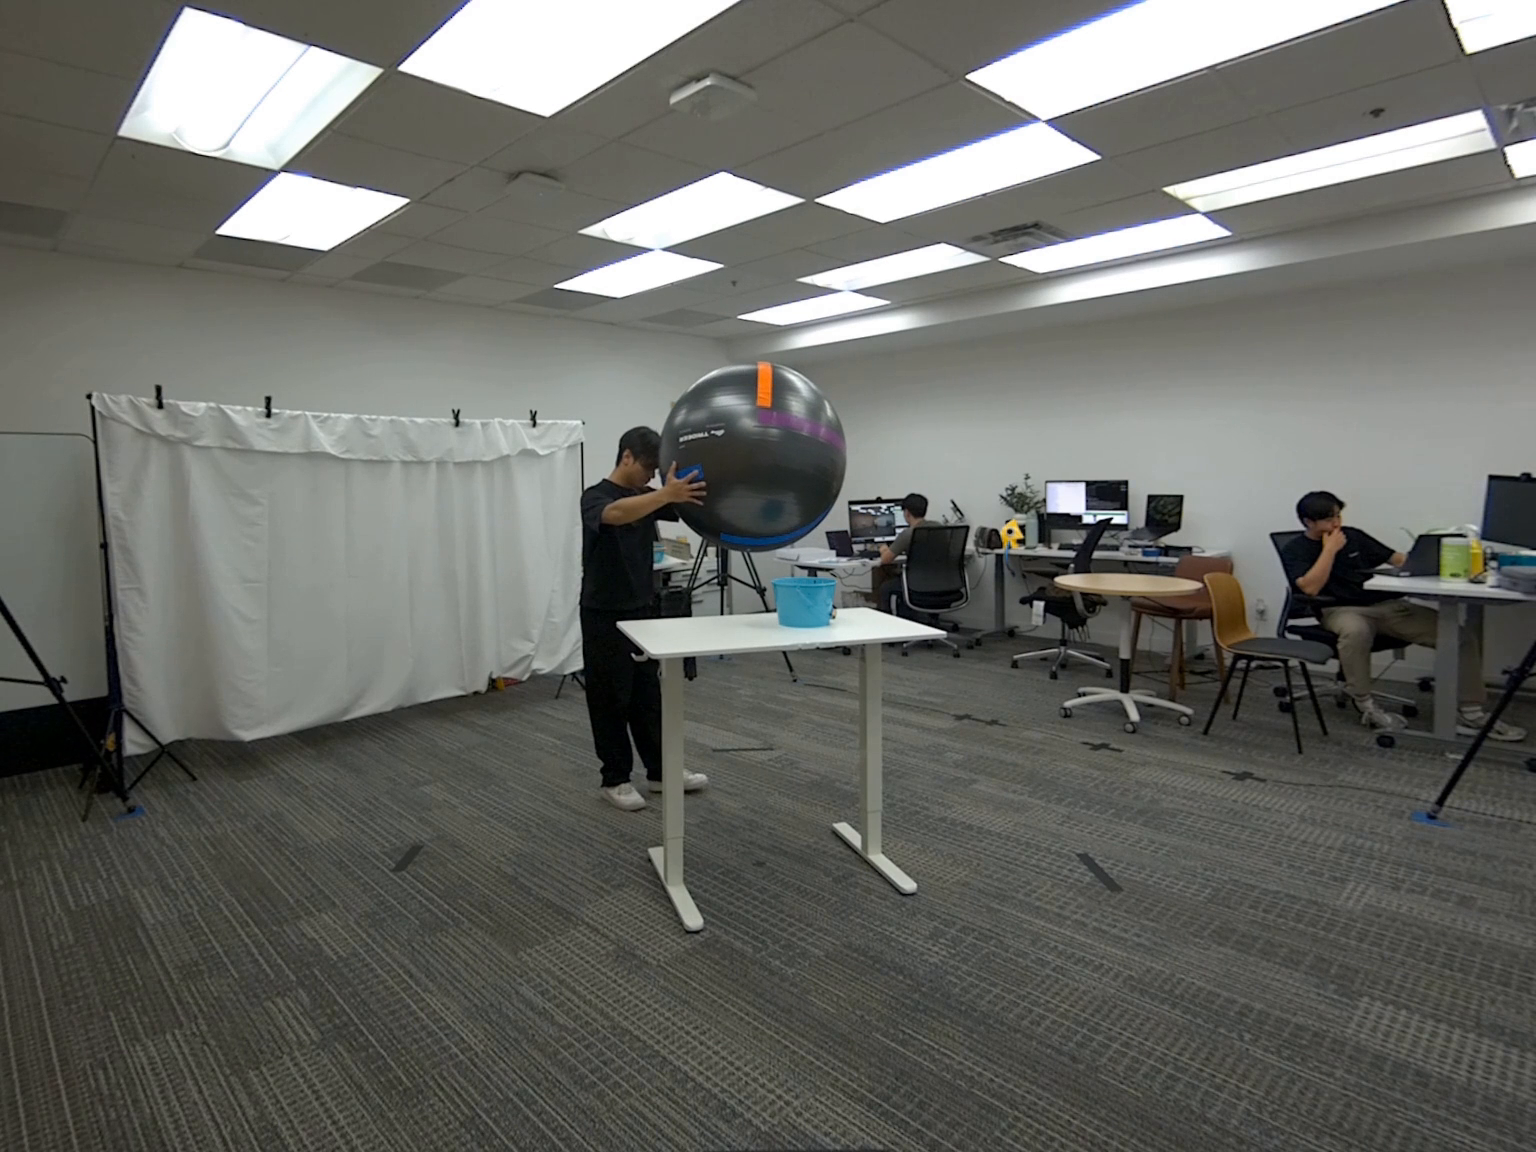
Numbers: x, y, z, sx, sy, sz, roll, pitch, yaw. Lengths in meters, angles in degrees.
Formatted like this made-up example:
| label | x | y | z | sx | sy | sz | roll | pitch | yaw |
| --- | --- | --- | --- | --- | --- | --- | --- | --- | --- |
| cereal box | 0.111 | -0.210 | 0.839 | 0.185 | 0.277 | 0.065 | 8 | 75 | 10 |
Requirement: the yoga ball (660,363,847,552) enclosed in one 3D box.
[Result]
| label | x | y | z | sx | sy | sz | roll | pitch | yaw |
| --- | --- | --- | --- | --- | --- | --- | --- | --- | --- |
| yoga ball | -0.060 | -0.473 | 3.446 | 0.757 | 0.755 | 0.762 | -1 | 5 | -2 |
